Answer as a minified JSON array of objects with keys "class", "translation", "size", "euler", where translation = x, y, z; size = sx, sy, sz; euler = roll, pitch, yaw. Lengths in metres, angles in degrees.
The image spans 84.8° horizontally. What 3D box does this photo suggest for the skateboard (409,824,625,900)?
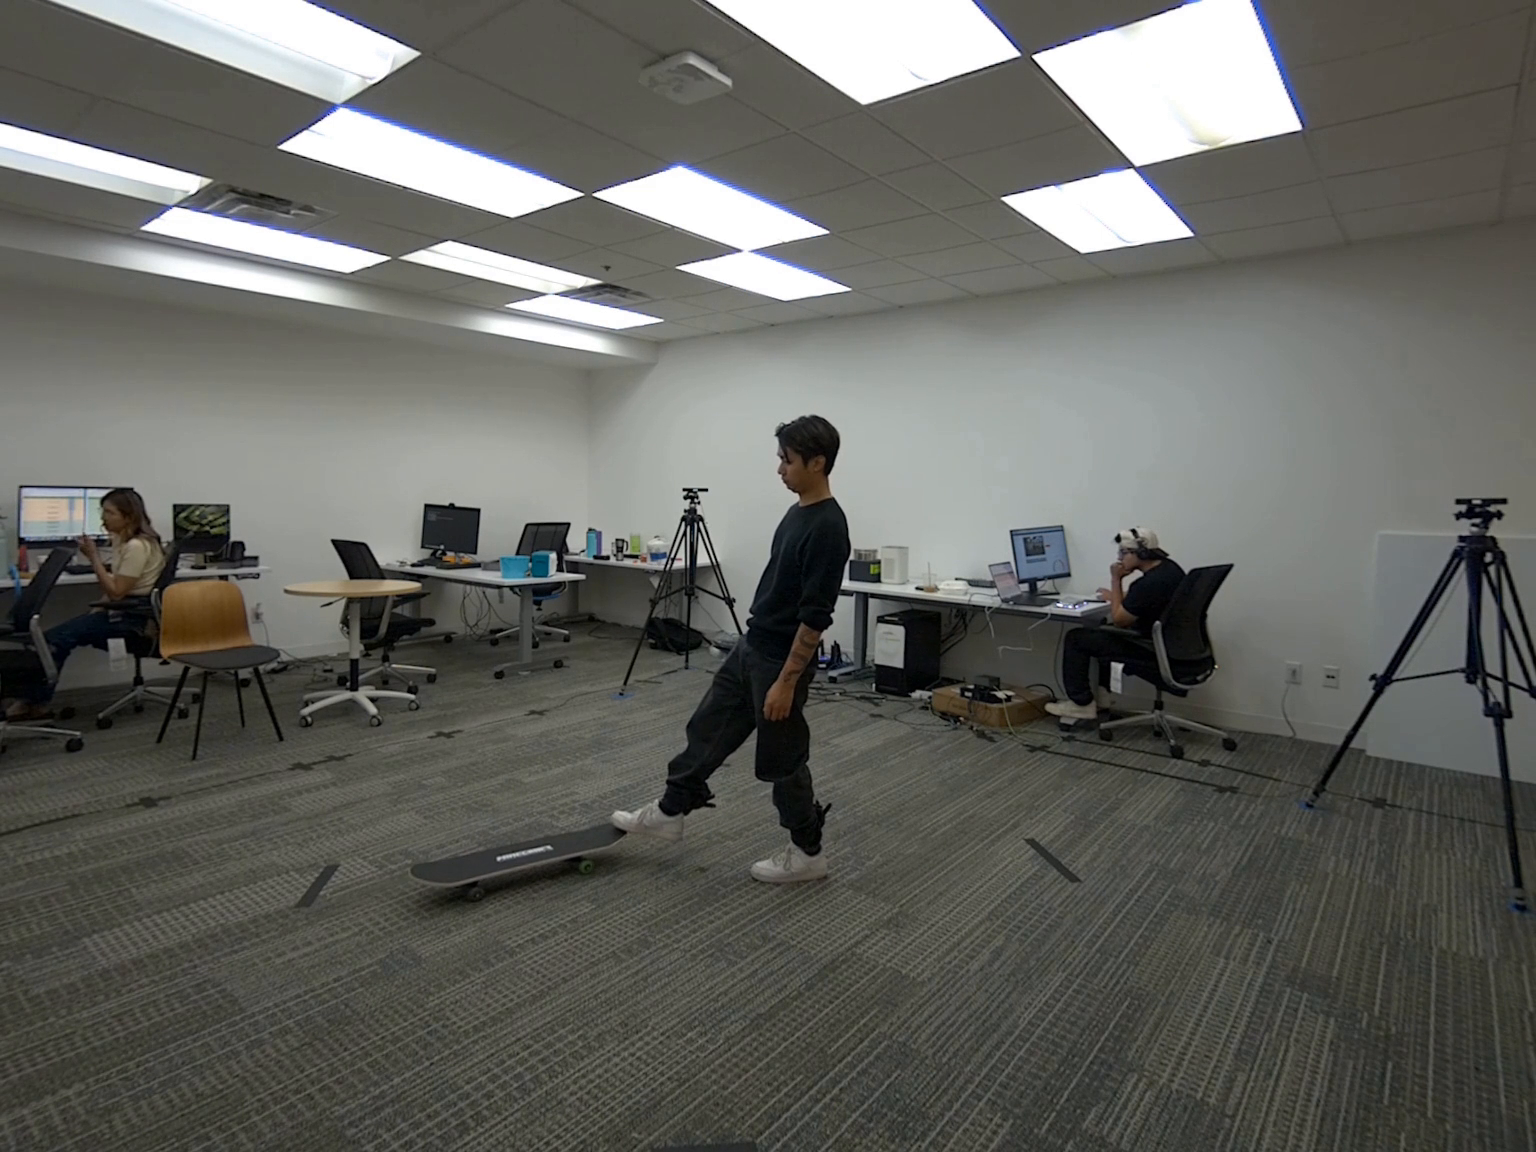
[{"class":"skateboard","translation":[-0.869,1.015,3.016],"size":[0.763,0.110,0.199],"euler":[-3,5,-33]}]
